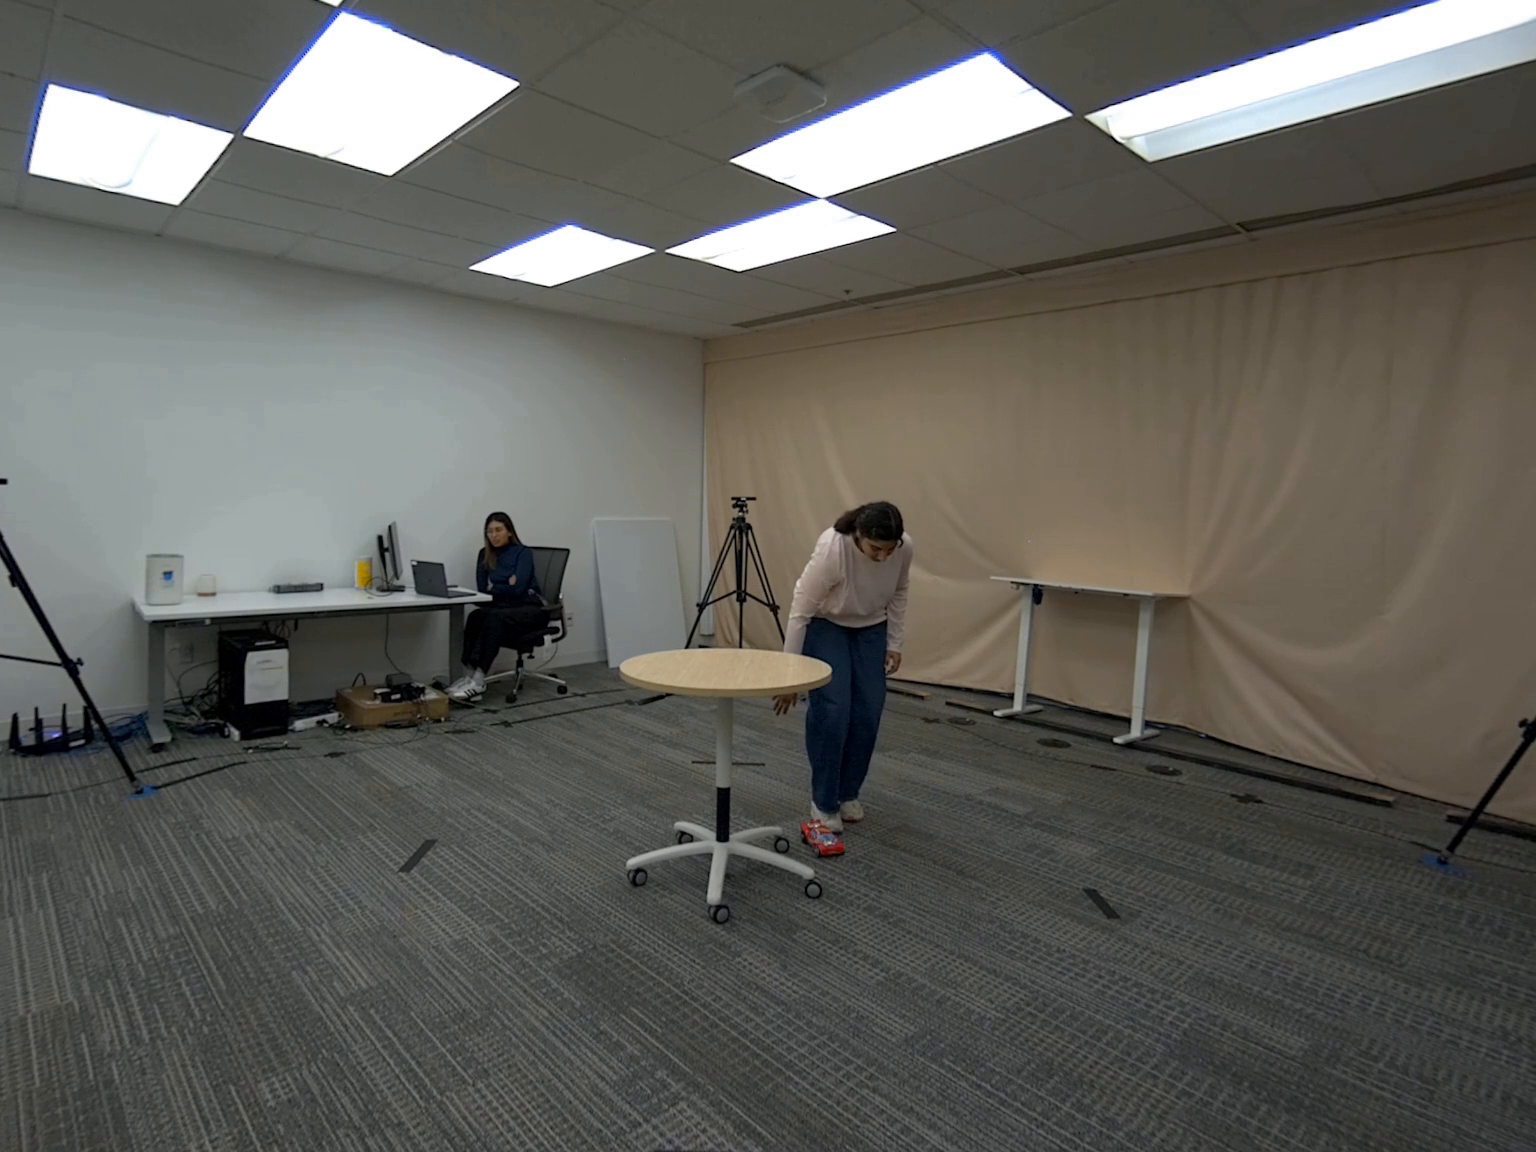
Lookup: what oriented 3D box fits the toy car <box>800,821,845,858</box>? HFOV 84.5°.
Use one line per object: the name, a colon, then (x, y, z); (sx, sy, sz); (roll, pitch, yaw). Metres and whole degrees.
toy car: (0.202, 1.057, 3.388); (0.128, 0.082, 0.260); (0, 15, -18)
